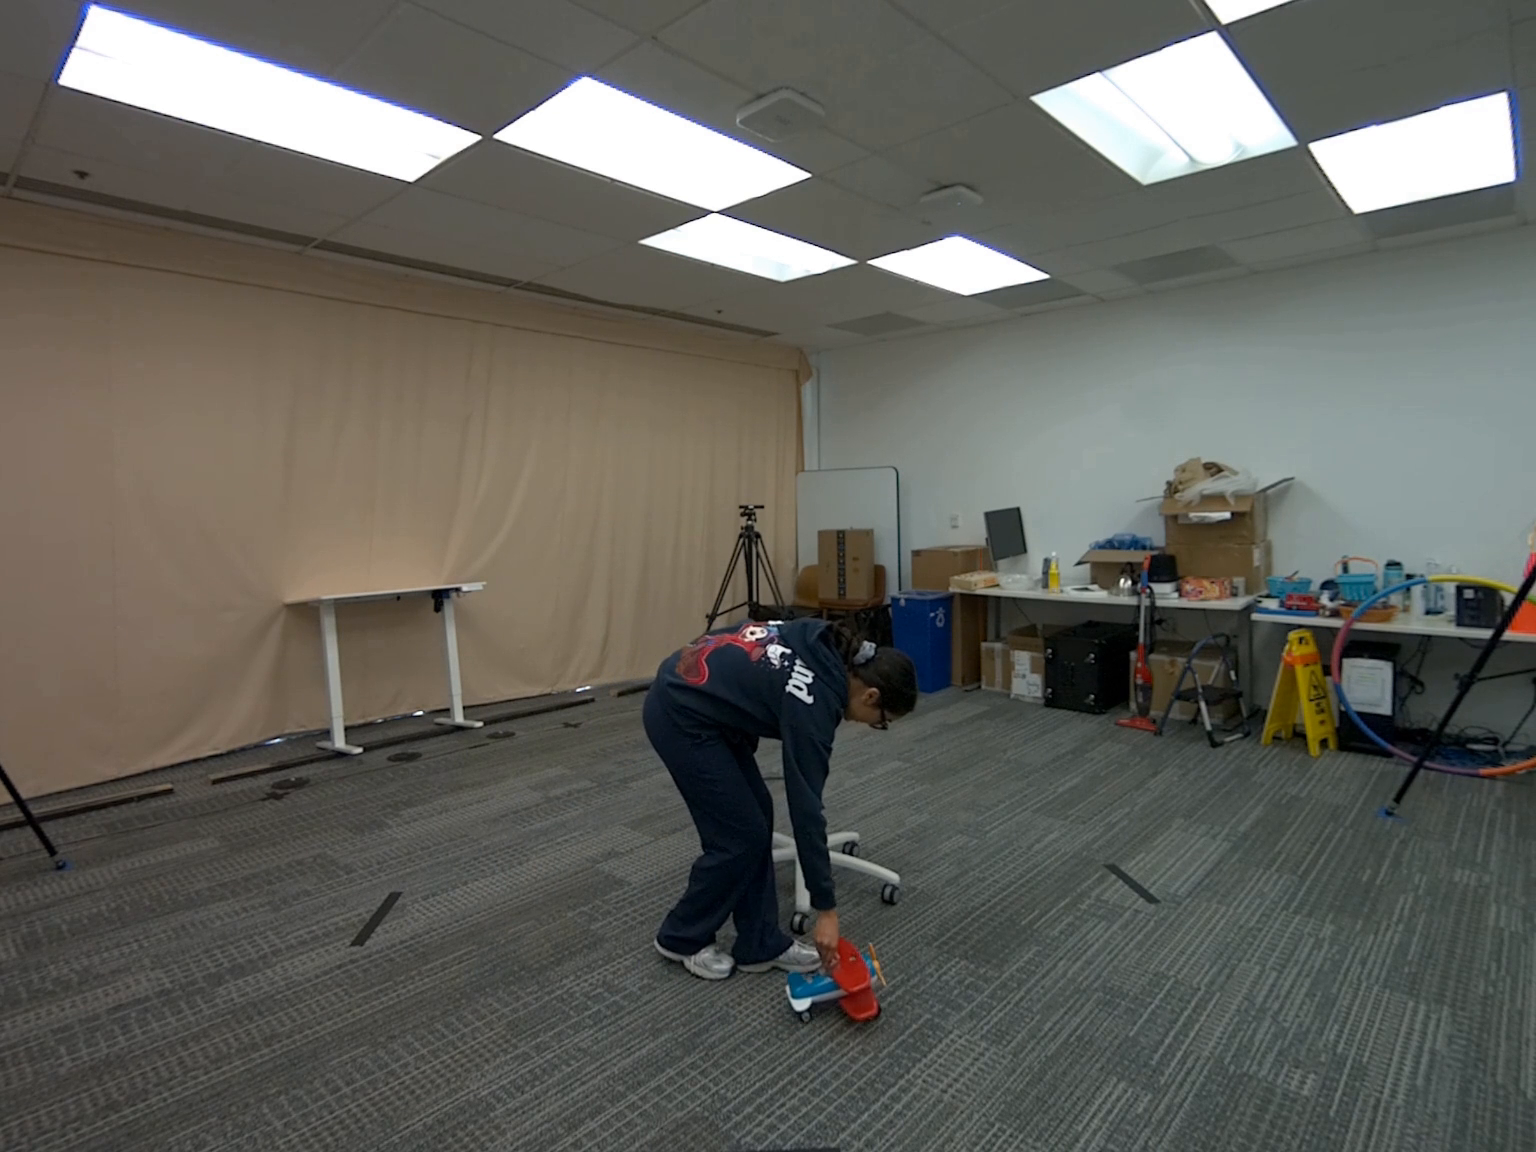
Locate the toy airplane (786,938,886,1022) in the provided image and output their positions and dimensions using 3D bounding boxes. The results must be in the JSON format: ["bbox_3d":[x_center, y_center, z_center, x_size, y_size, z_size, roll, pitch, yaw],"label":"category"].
[{"bbox_3d":[0.197,1.126,2.281,0.251,0.156,0.259,-4,6,-37],"label":"toy airplane"}]
